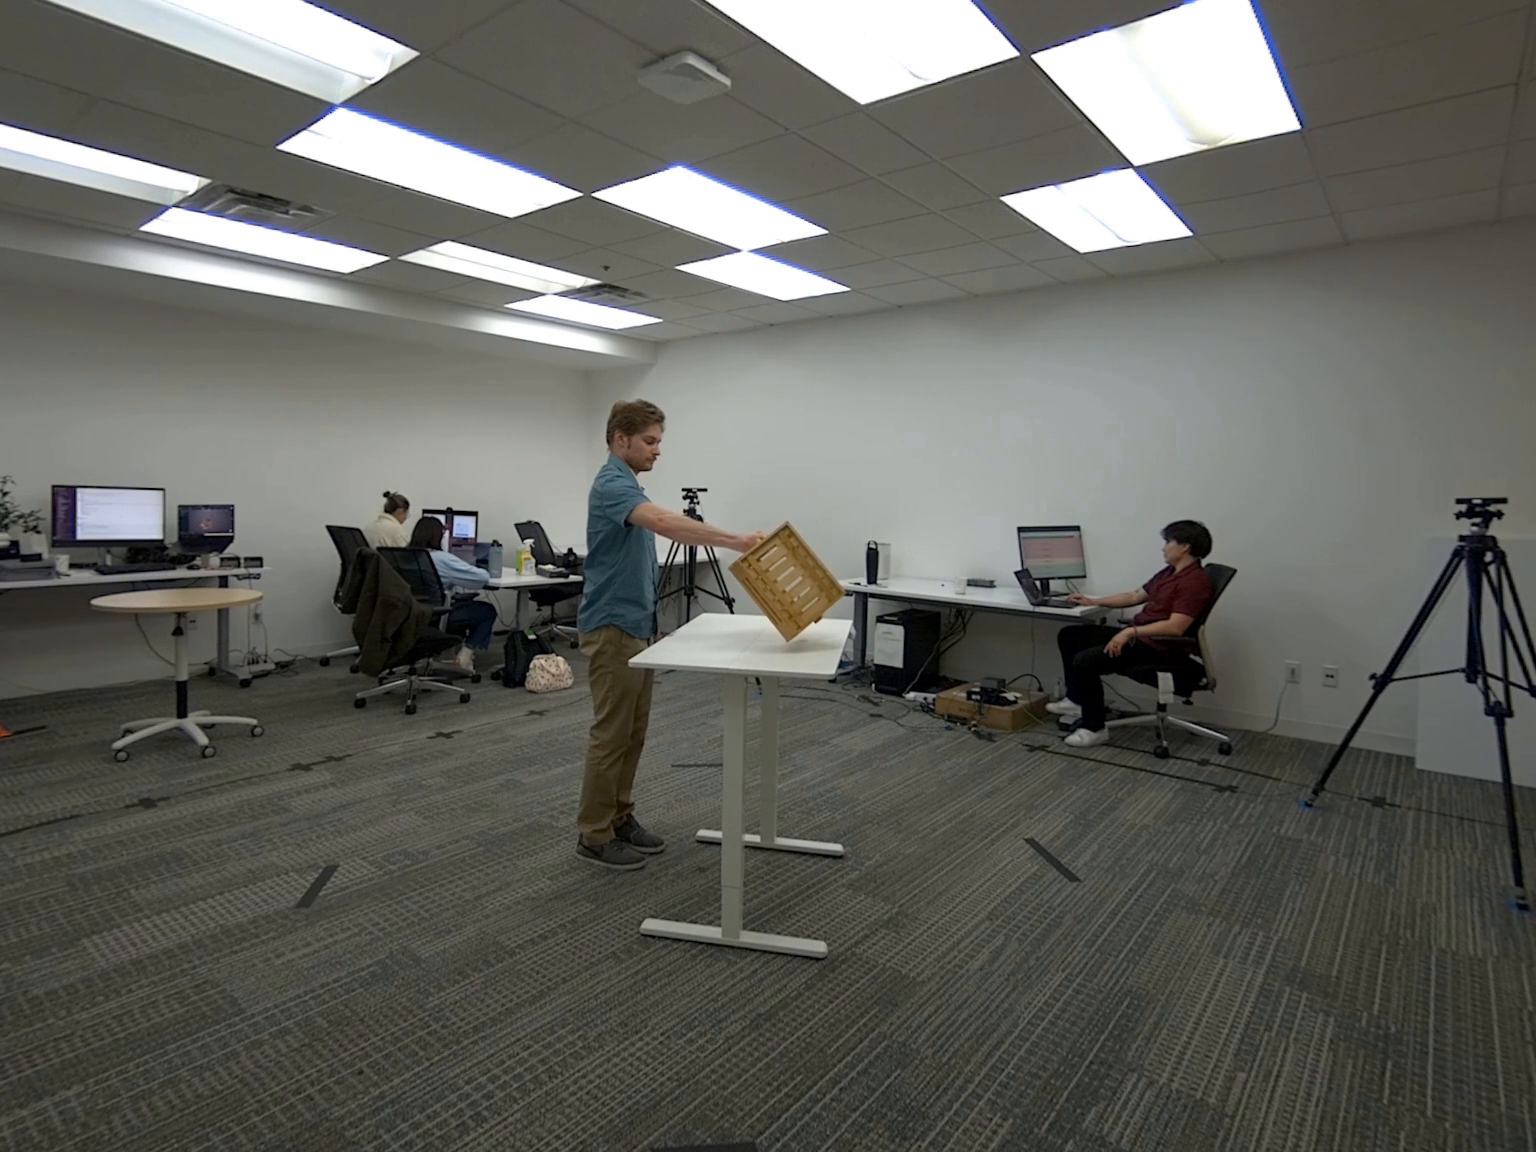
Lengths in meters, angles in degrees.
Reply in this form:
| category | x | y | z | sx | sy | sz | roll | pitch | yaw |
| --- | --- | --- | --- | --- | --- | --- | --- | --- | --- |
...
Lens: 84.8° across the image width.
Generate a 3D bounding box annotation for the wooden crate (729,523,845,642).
| category | x | y | z | sx | sy | sz | roll | pitch | yaw |
| --- | --- | --- | --- | --- | --- | --- | --- | --- | --- |
| wooden crate | 0.034 | 0.024 | 2.829 | 0.300 | 0.326 | 0.273 | -38 | -2 | -23 |
